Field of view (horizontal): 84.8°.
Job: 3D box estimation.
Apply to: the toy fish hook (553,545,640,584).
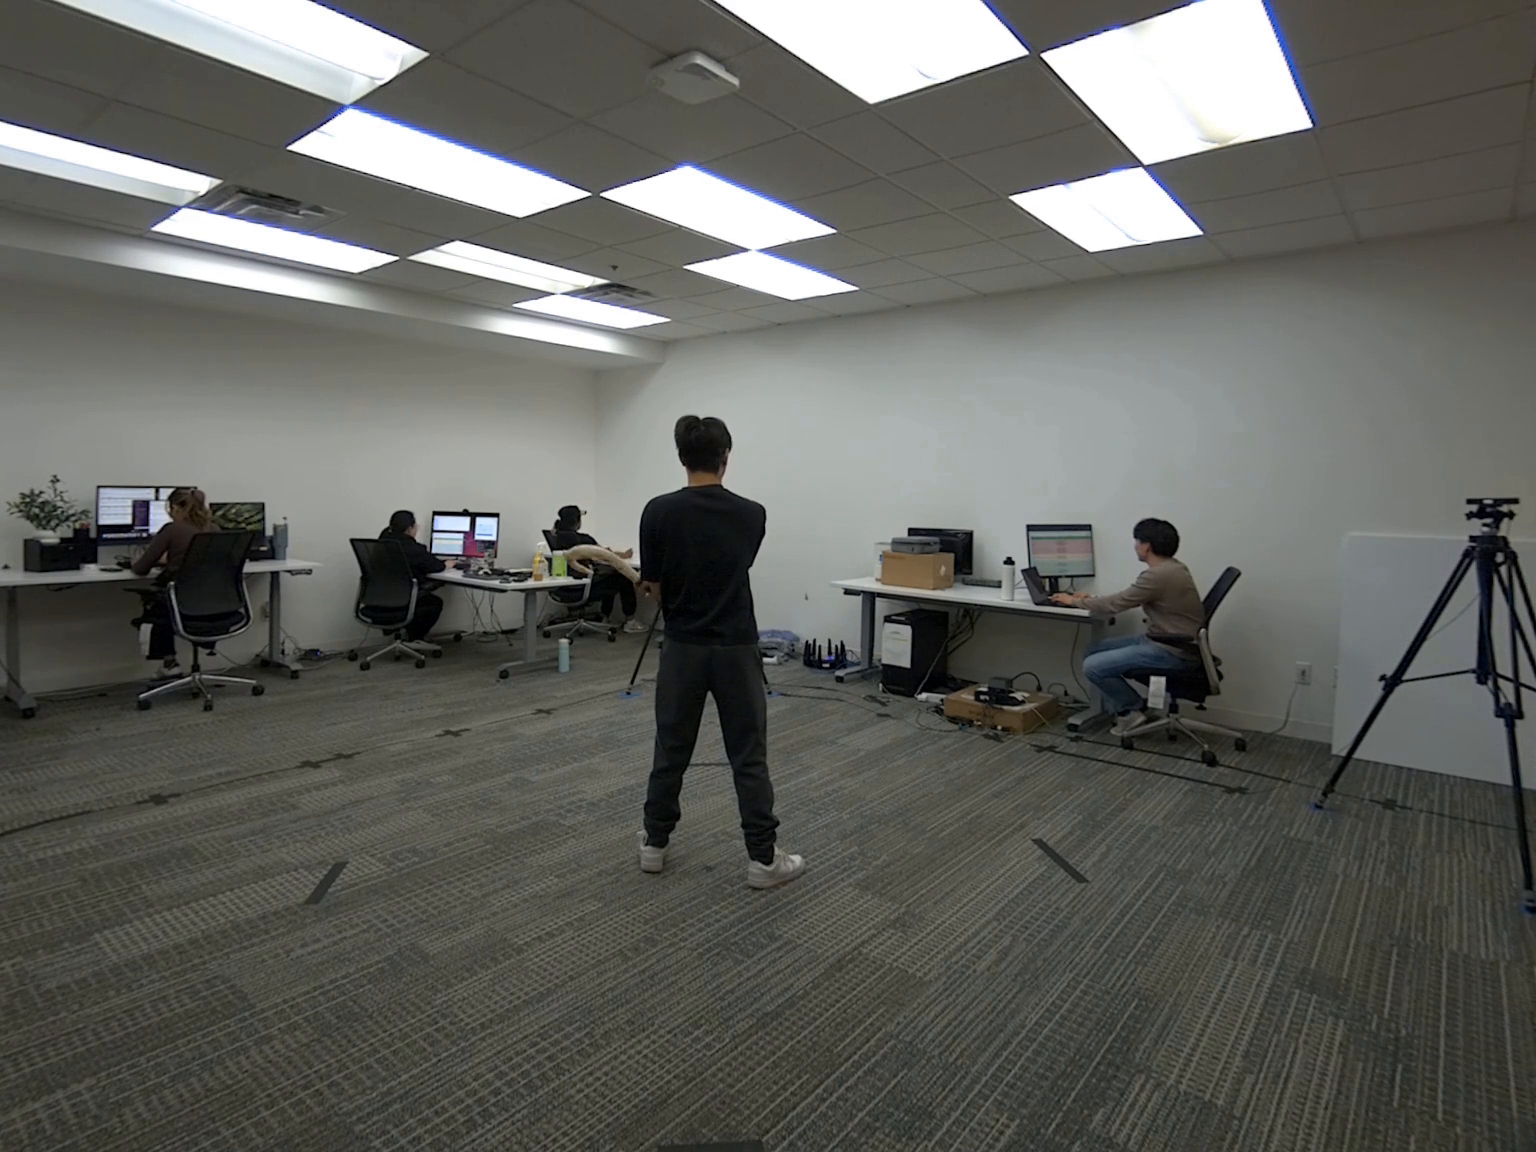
[{"bbox_3d":[-0.589,0.005,3.335,0.230,0.049,0.486,-10,-33,41],"label":"toy fish hook"}]
